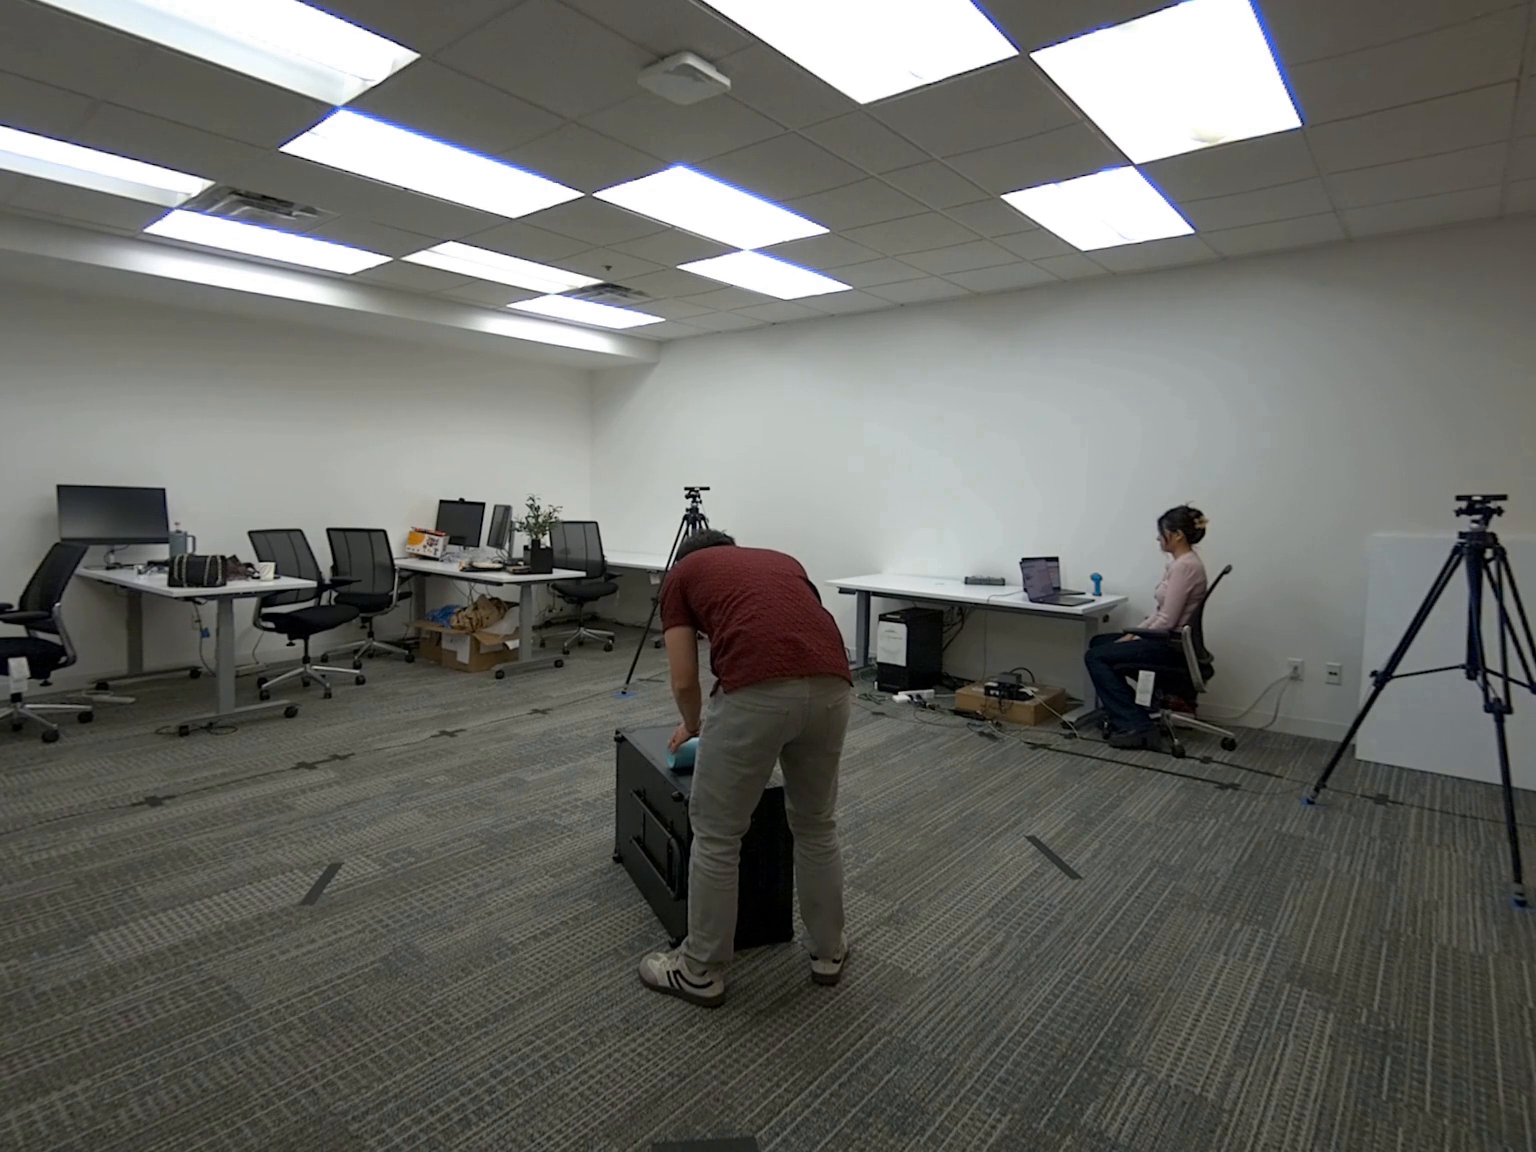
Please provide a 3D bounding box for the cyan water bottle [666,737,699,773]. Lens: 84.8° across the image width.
[{"bbox_3d":[-0.202,0.566,2.792,0.277,0.092,0.095,-1,5,-24],"label":"cyan water bottle"}]
